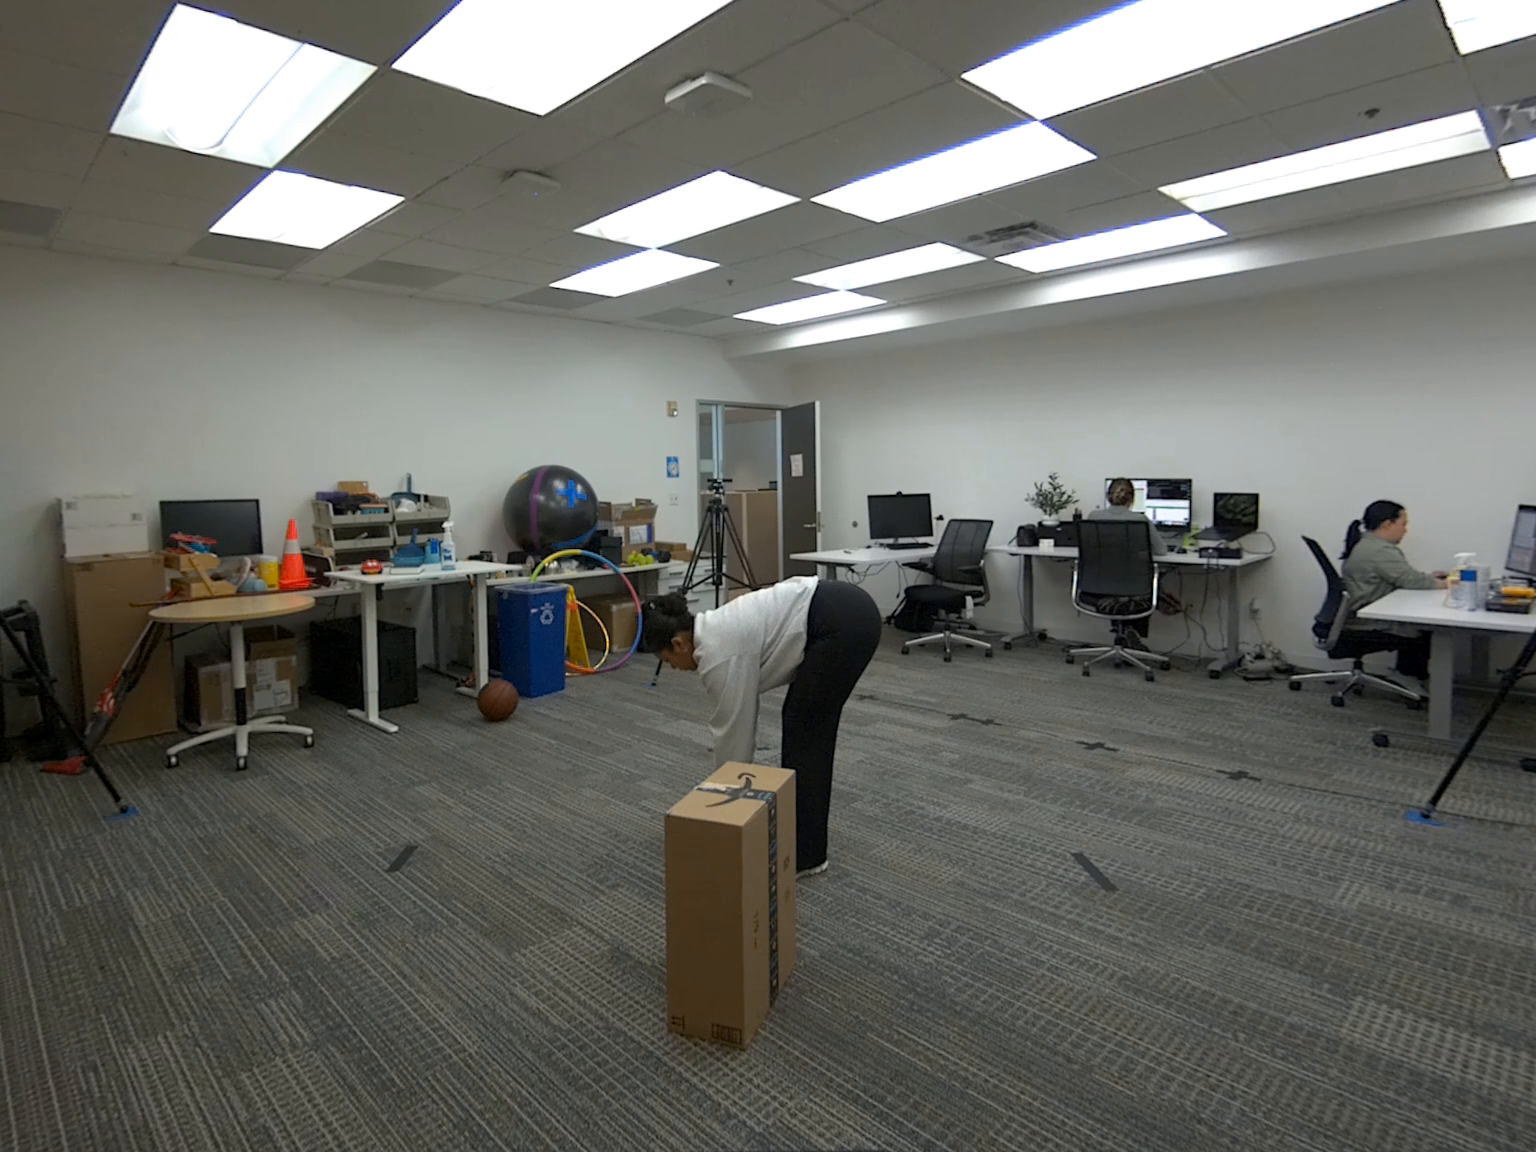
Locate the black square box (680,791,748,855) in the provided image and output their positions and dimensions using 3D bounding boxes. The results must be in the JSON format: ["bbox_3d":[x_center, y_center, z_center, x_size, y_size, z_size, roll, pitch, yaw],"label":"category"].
[{"bbox_3d":[-0.204,0.935,3.261,0.218,0.156,0.227,-3,3,7],"label":"black square box"}]
